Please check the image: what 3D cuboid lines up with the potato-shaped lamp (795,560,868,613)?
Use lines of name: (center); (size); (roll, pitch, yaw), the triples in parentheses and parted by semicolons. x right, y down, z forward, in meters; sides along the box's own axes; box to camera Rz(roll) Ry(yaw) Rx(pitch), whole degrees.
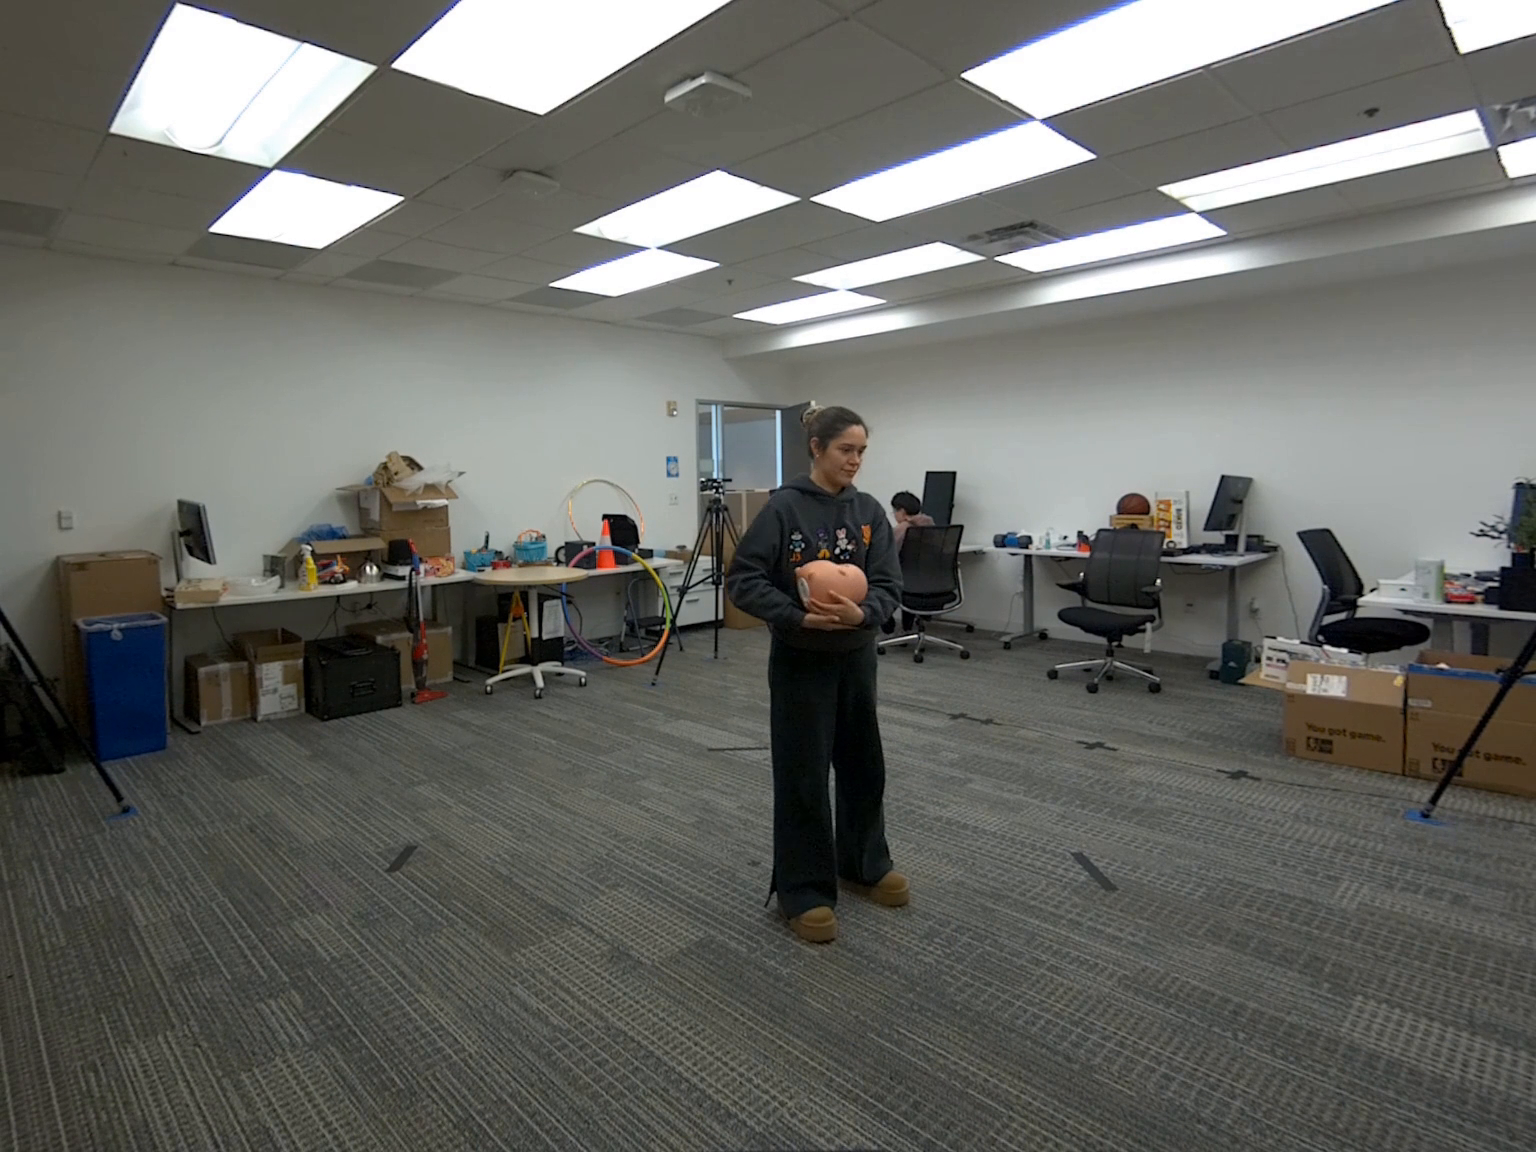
potato-shaped lamp: (0.184, 0.030, 2.521); (0.195, 0.171, 0.167); (-12, 5, -17)
